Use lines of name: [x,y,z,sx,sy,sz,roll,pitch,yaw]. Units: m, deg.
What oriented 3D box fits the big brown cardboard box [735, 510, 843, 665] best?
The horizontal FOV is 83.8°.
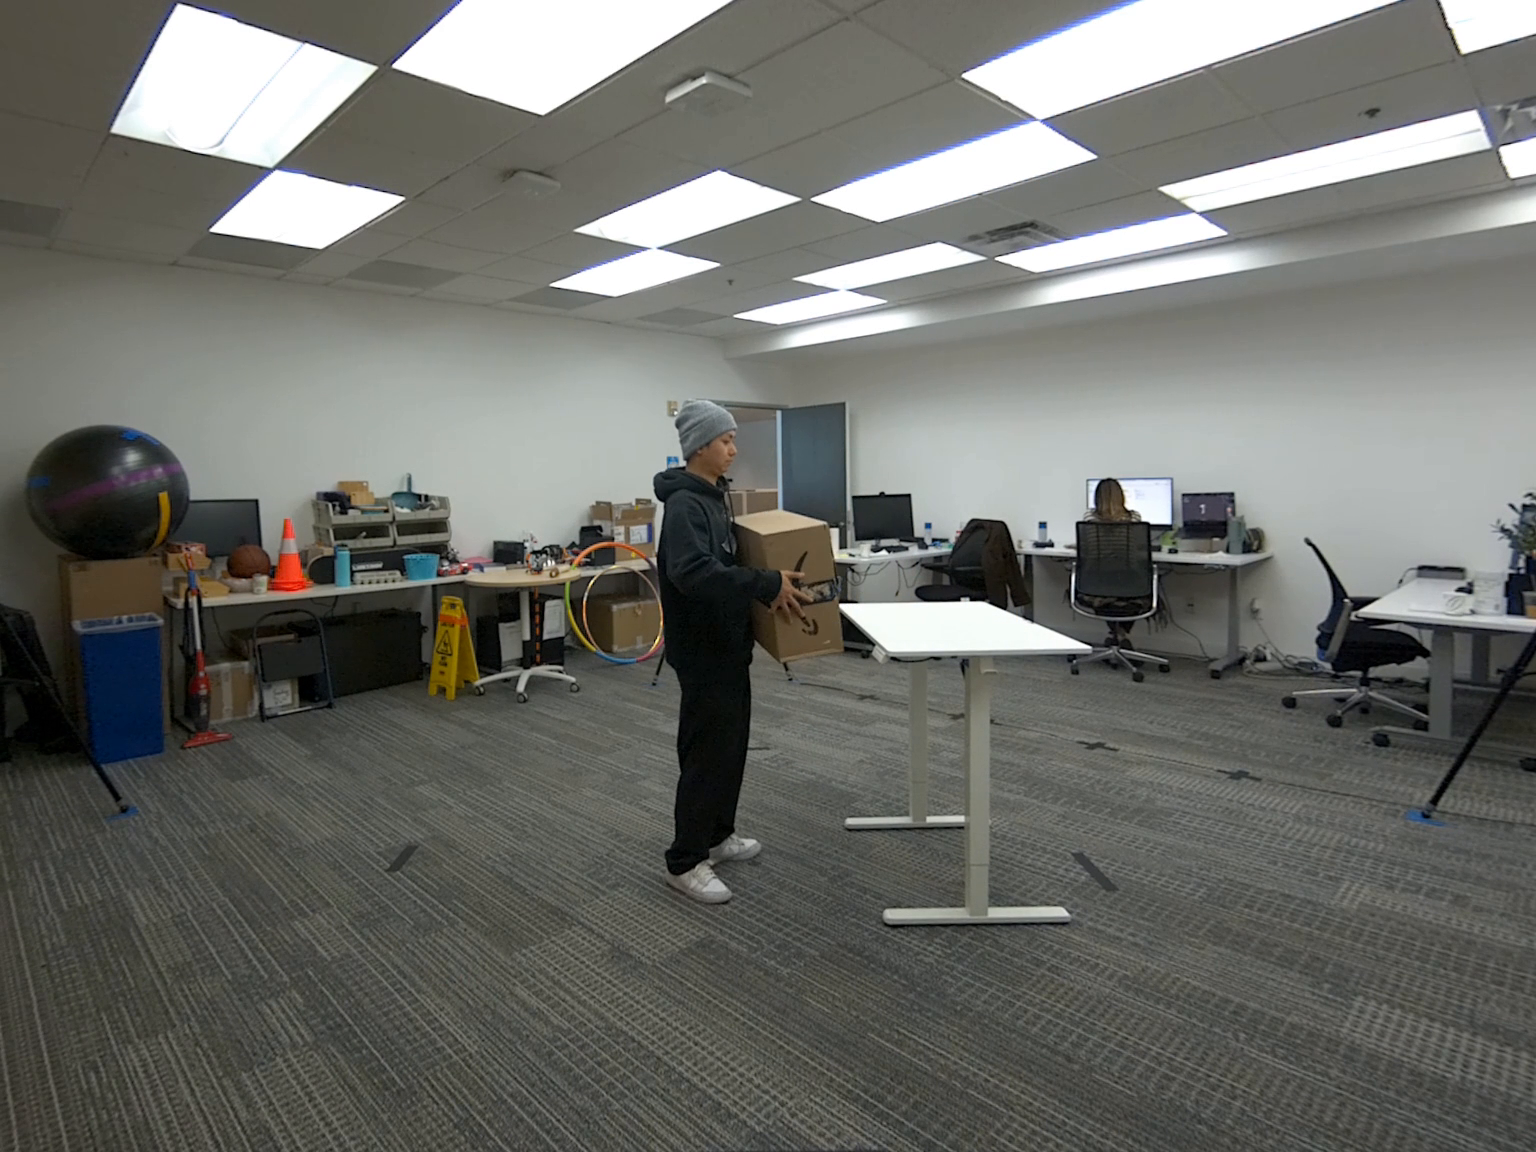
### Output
big brown cardboard box: [0.052,0.006,2.930,0.230,0.414,0.601,-9,10,-14]
